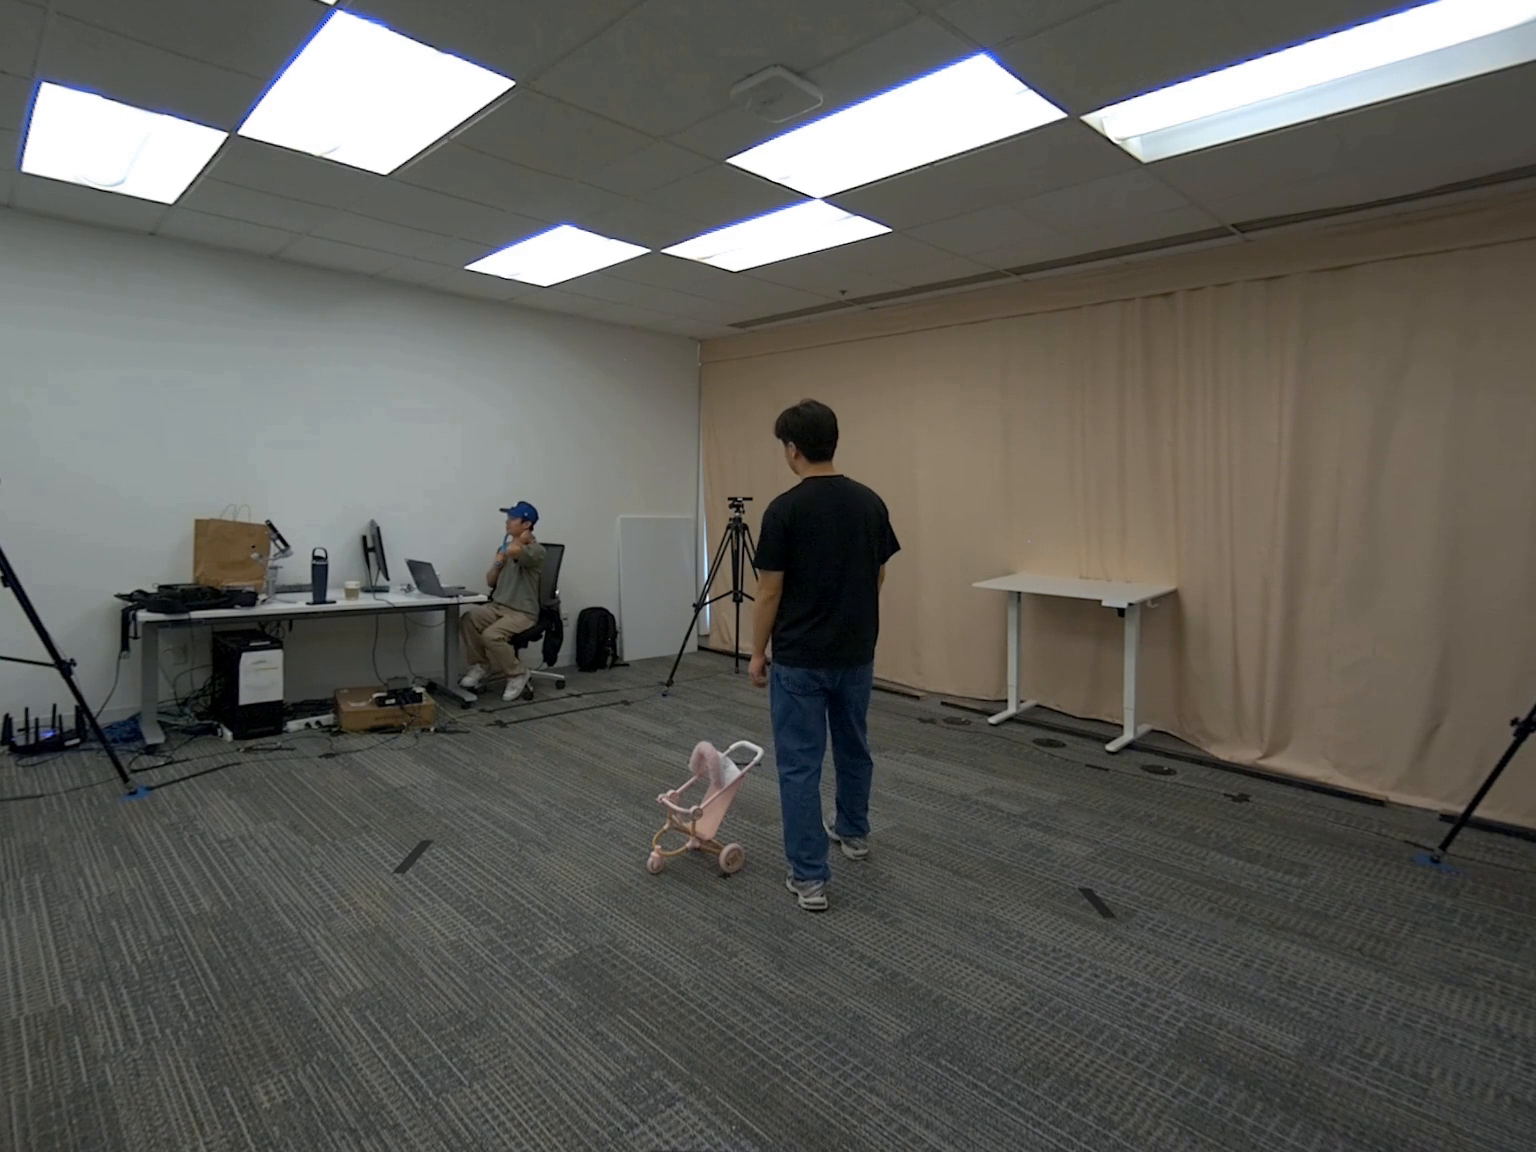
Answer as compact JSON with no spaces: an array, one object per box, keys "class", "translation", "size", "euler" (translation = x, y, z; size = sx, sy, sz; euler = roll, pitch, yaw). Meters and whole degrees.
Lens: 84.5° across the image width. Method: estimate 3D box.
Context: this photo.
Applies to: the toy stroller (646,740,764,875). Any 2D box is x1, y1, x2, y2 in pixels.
[{"class":"toy stroller","translation":[-0.260,0.870,3.198],"size":[0.333,0.536,0.287],"euler":[17,-4,-28]}]
